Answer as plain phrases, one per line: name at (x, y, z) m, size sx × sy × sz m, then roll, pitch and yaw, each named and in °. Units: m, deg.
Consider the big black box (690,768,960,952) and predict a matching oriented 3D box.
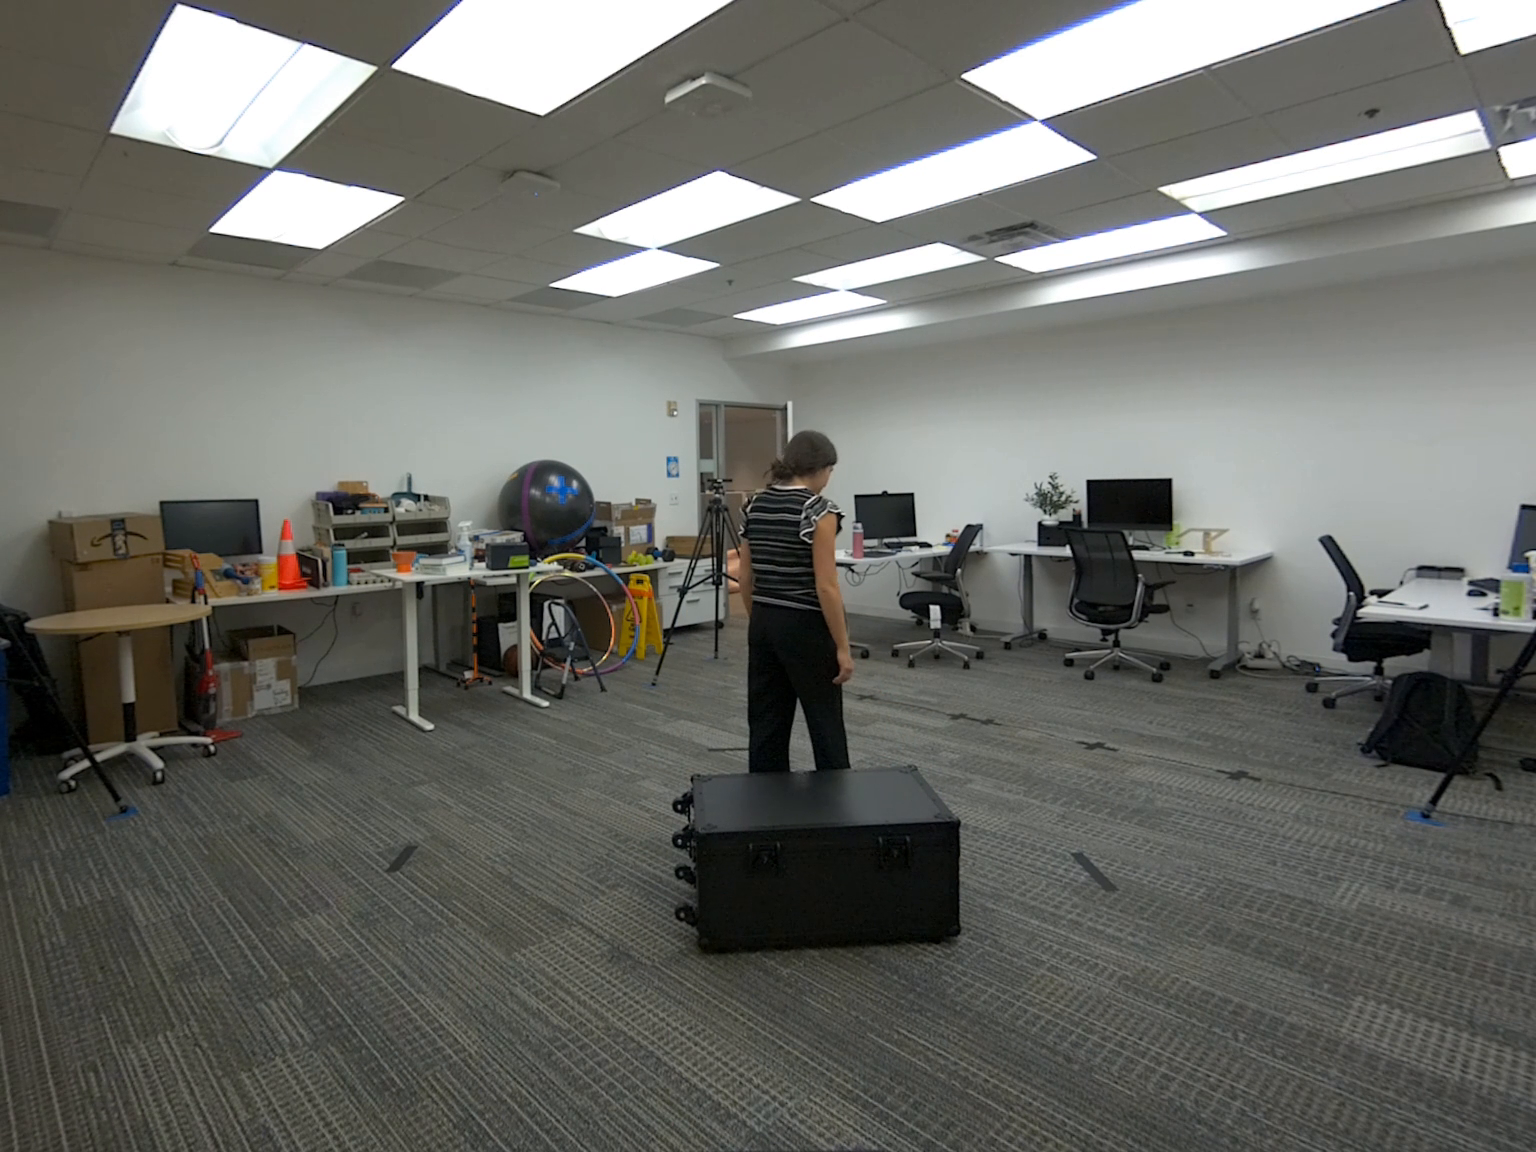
big black box at (0.124, 0.889, 2.753) m, size 0.858 × 0.395 × 0.526 m, roll -1°, pitch 5°, yaw -5°
